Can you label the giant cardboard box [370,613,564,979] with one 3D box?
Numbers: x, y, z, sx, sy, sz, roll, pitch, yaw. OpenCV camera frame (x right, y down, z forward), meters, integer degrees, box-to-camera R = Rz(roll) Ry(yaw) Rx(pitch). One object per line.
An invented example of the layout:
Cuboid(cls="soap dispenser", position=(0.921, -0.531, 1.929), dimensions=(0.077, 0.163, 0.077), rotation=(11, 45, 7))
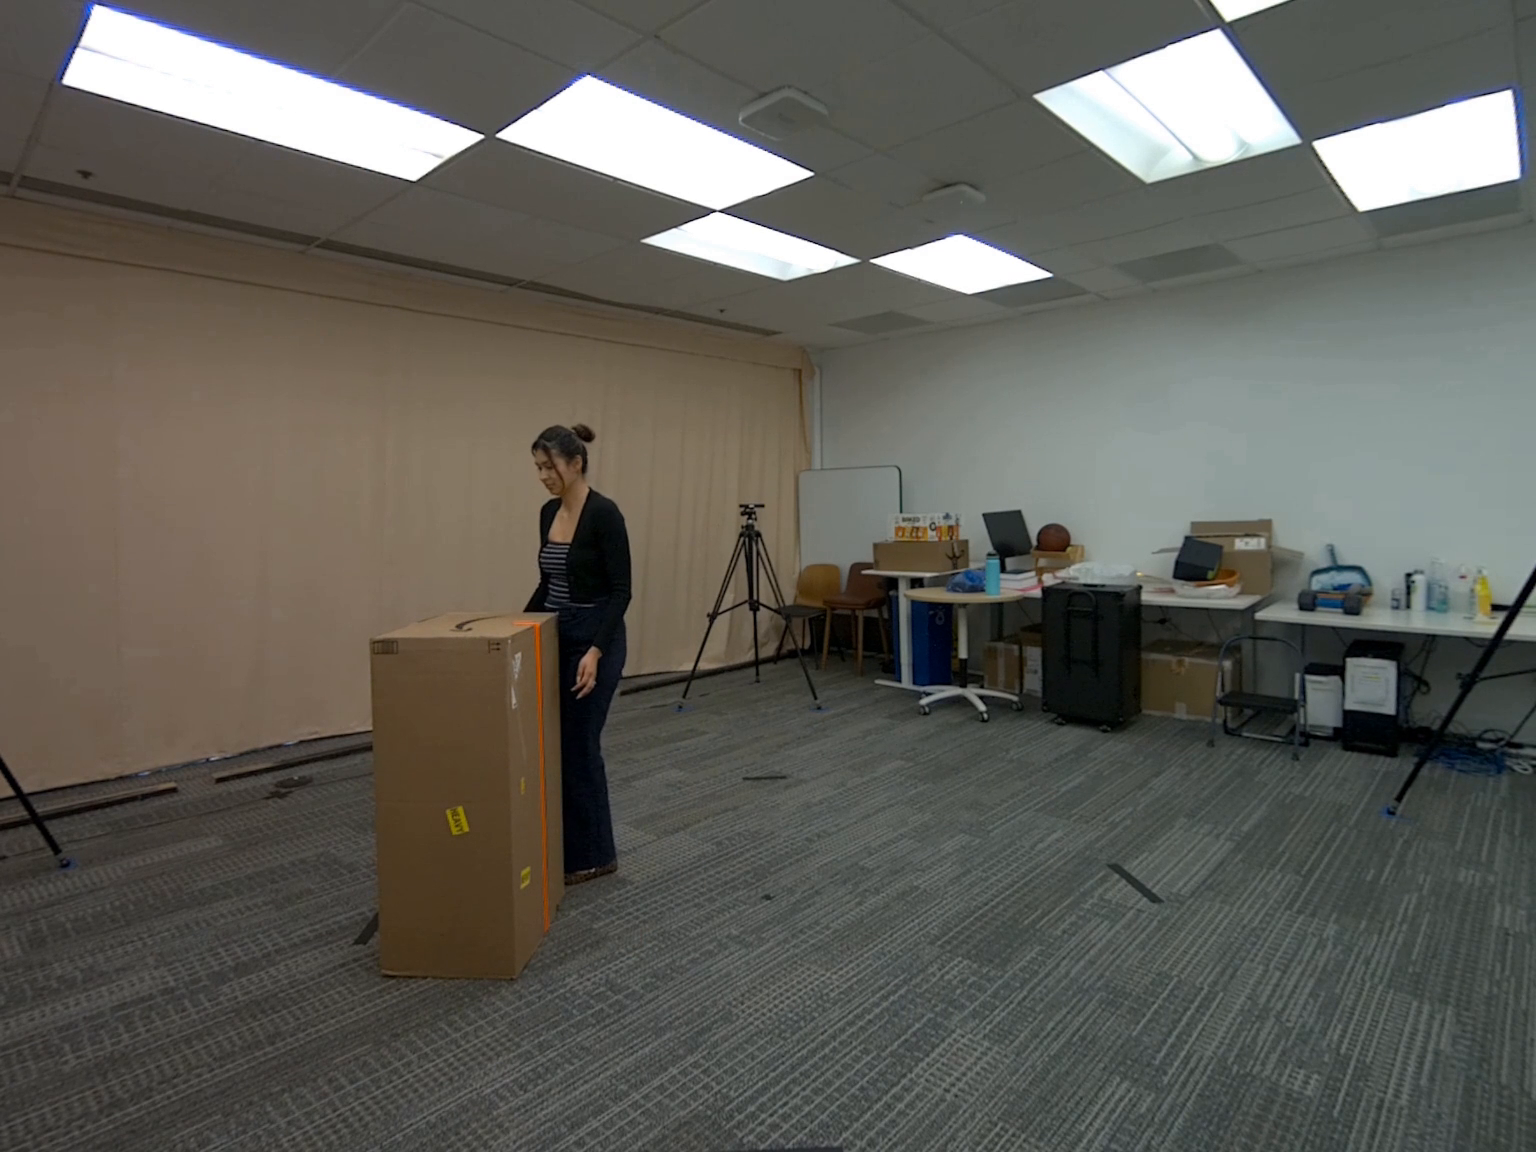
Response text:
Cuboid(cls="giant cardboard box", position=(-0.959, 0.666, 2.767), dimensions=(0.428, 1.024, 0.576), rotation=(-1, 3, 3))
